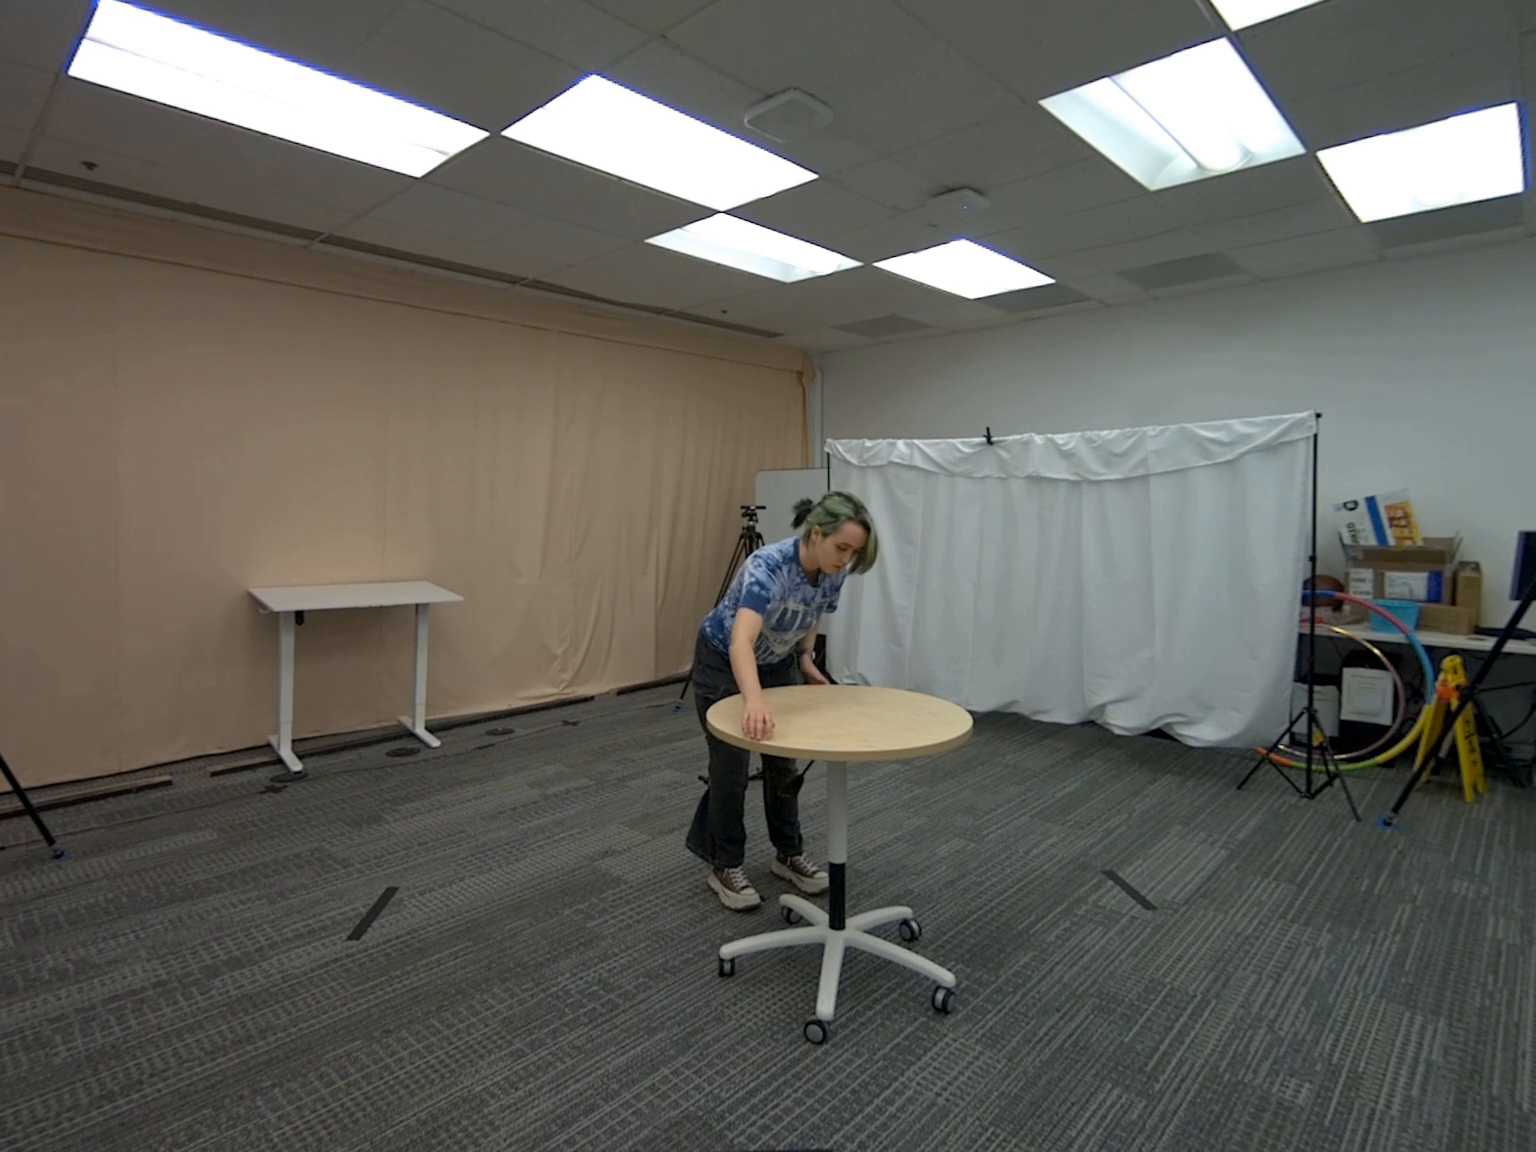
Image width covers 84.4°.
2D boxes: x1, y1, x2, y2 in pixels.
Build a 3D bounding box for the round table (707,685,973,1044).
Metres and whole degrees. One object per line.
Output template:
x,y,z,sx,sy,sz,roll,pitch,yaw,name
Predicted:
0.208,0.797,2.486,0.763,0.792,0.767,0,4,-2,round table
